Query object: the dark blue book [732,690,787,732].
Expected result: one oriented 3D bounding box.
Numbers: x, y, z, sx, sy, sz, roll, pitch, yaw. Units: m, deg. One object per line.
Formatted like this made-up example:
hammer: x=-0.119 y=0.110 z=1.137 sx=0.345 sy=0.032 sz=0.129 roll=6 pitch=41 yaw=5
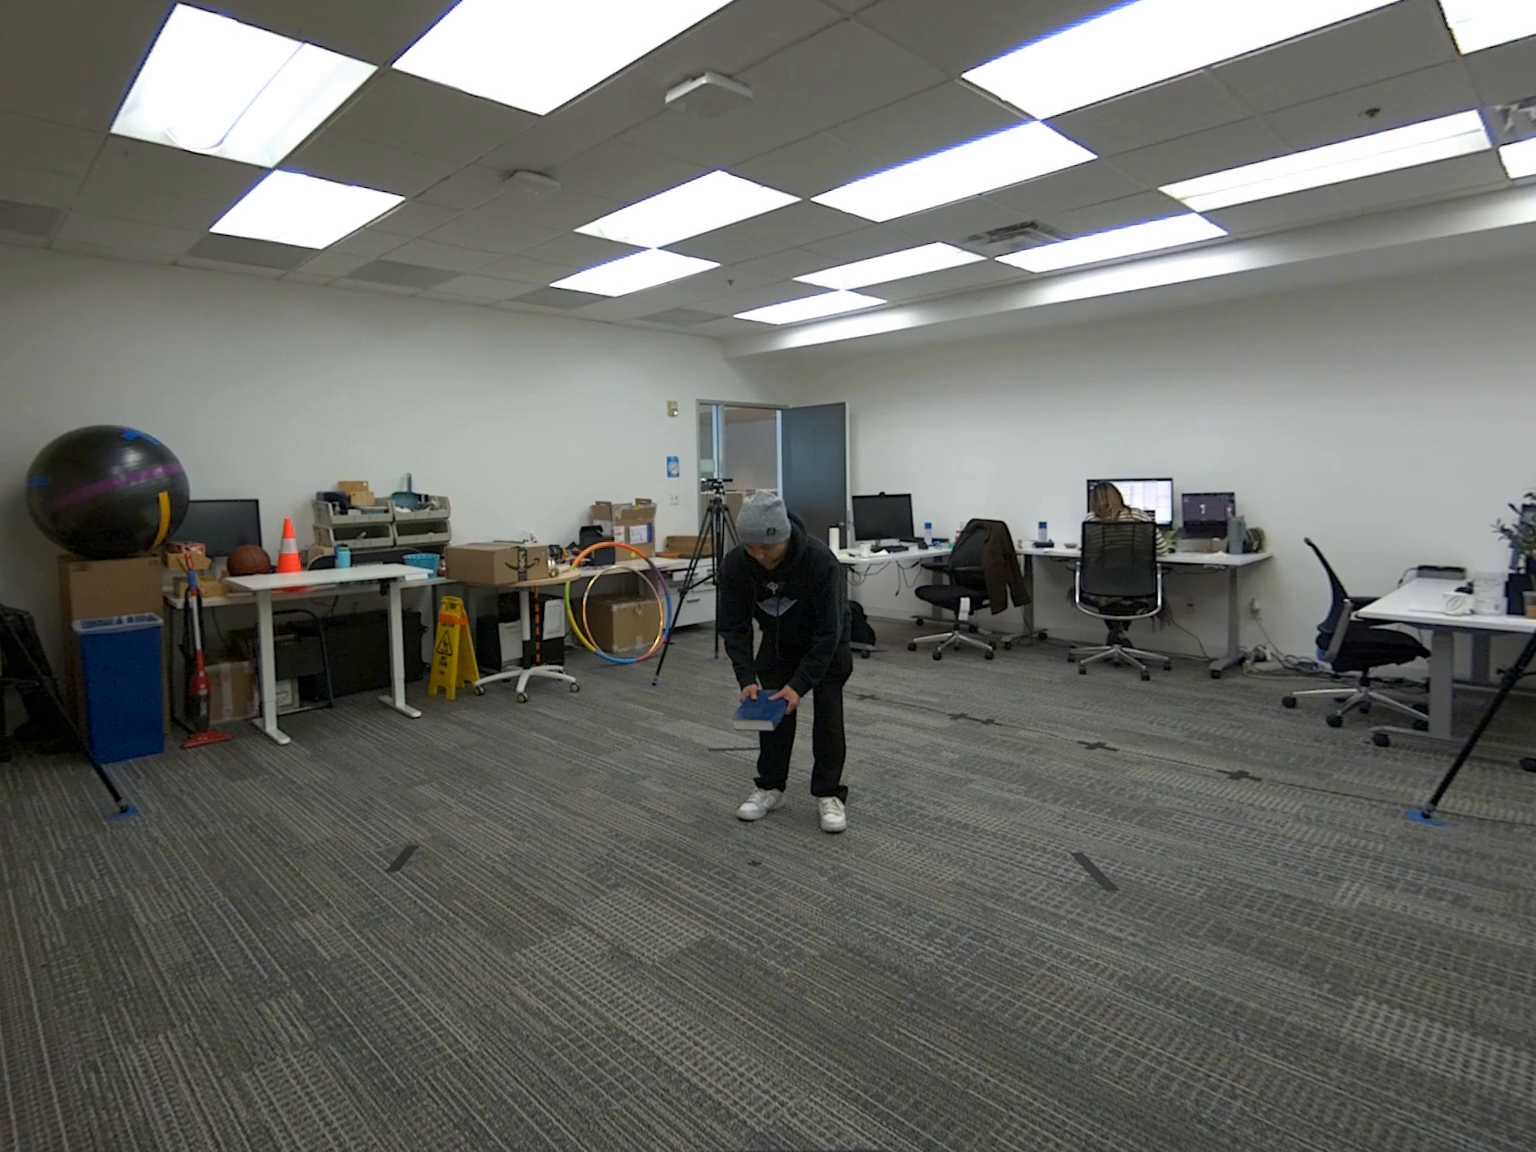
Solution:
dark blue book: x=-0.017 y=0.510 z=3.223 sx=0.166 sy=0.044 sz=0.244 roll=-3 pitch=17 yaw=21
